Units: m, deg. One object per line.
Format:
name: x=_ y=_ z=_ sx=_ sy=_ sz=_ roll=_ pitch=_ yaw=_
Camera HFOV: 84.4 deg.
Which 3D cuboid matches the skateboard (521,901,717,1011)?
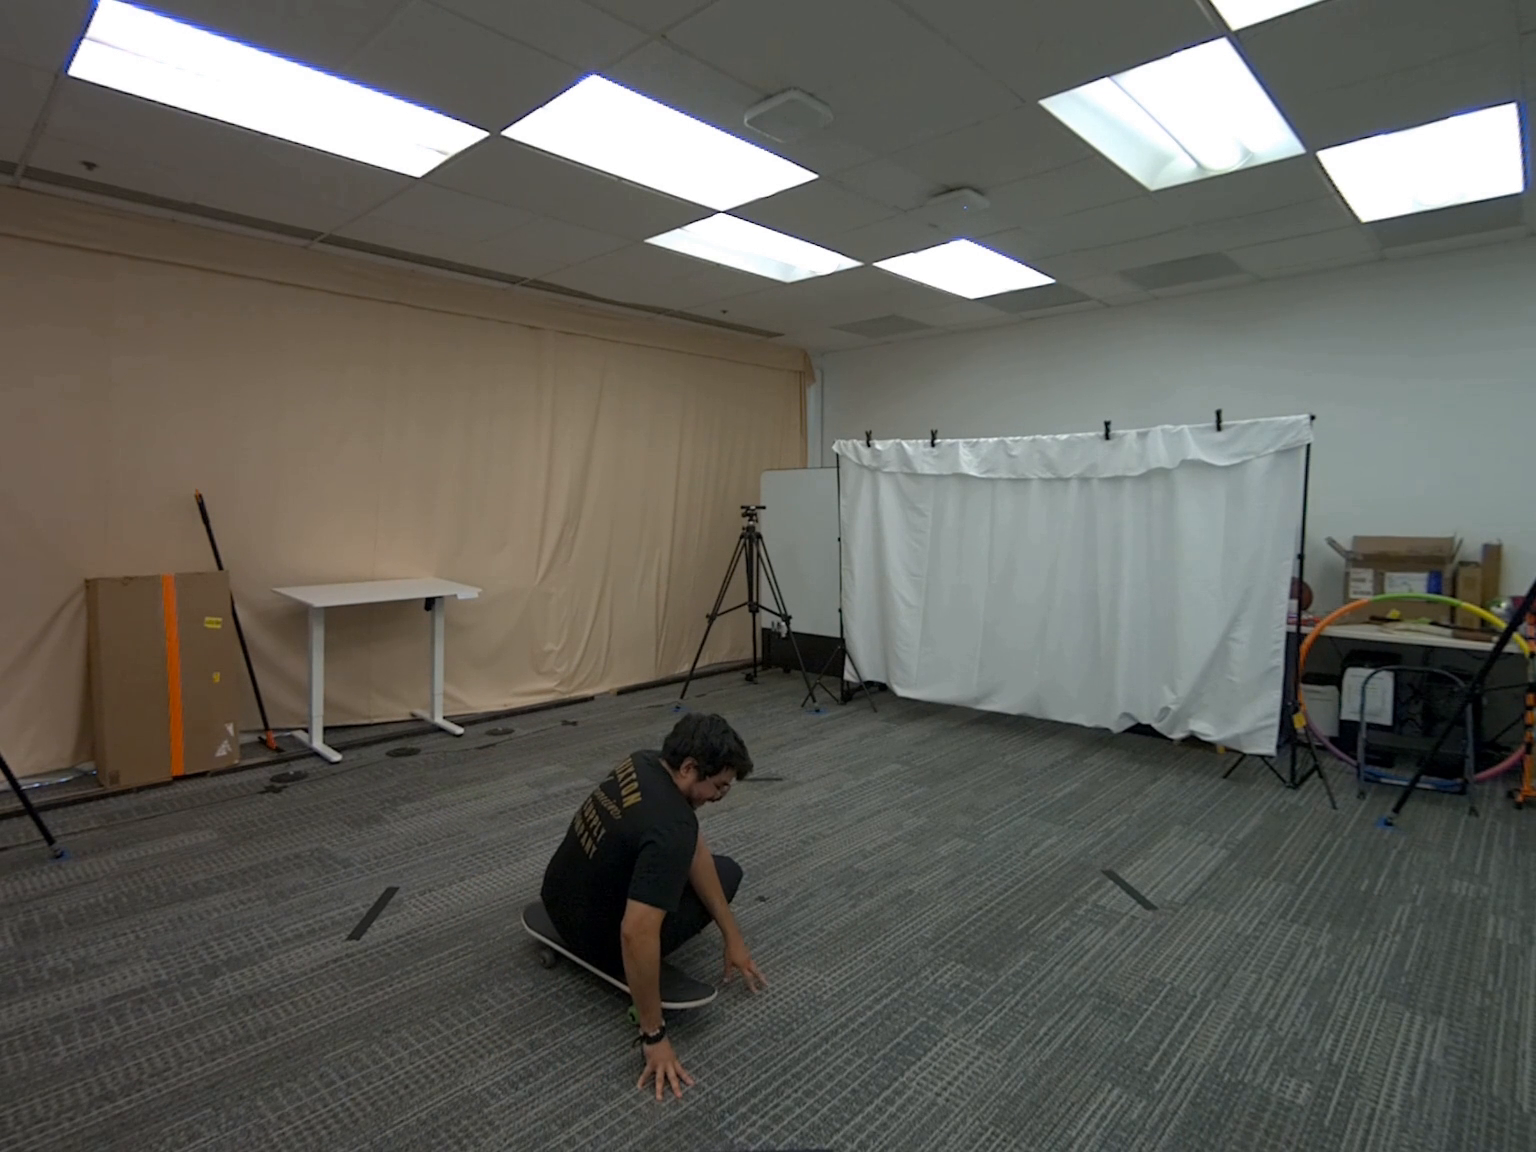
skateboard: x=-0.462 y=1.136 z=2.469 sx=0.812 sy=0.110 sz=0.187 roll=4 pitch=-1 yaw=42
